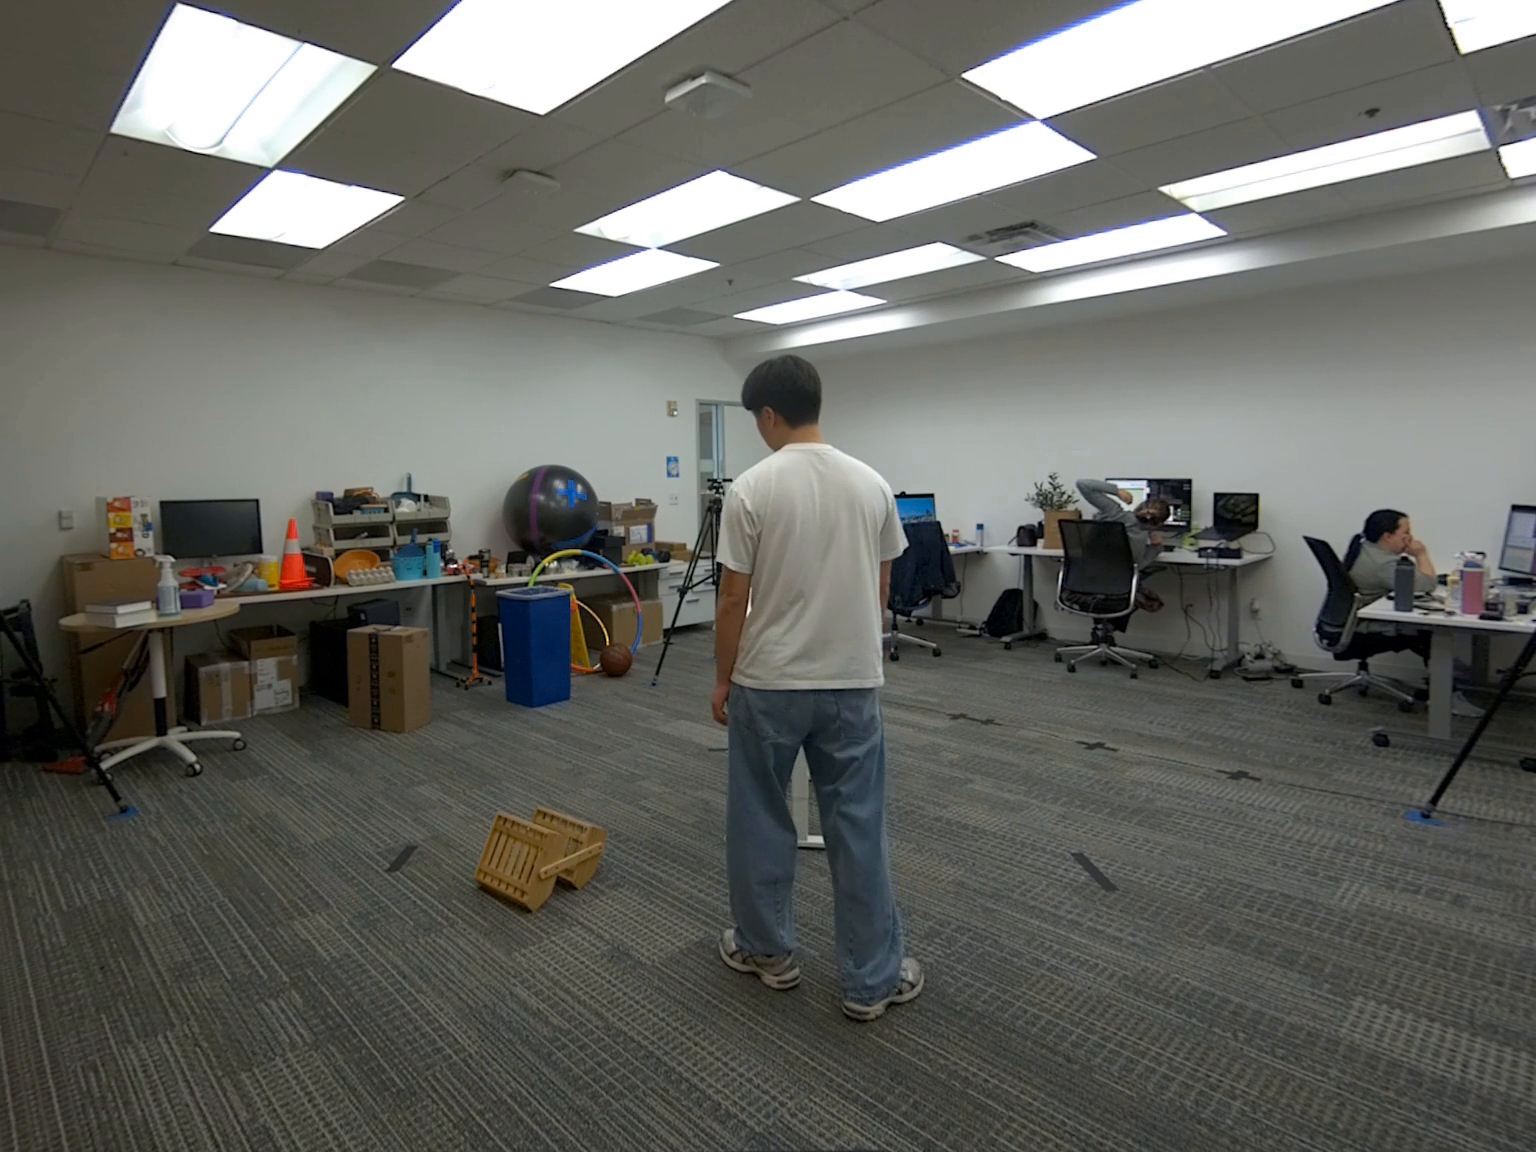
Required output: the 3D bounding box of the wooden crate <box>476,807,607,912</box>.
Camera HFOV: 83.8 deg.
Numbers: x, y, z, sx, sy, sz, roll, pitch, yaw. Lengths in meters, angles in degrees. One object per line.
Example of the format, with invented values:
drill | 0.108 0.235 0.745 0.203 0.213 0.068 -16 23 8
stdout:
wooden crate | -0.791 0.984 2.990 0.334 0.305 0.263 3 -21 39
